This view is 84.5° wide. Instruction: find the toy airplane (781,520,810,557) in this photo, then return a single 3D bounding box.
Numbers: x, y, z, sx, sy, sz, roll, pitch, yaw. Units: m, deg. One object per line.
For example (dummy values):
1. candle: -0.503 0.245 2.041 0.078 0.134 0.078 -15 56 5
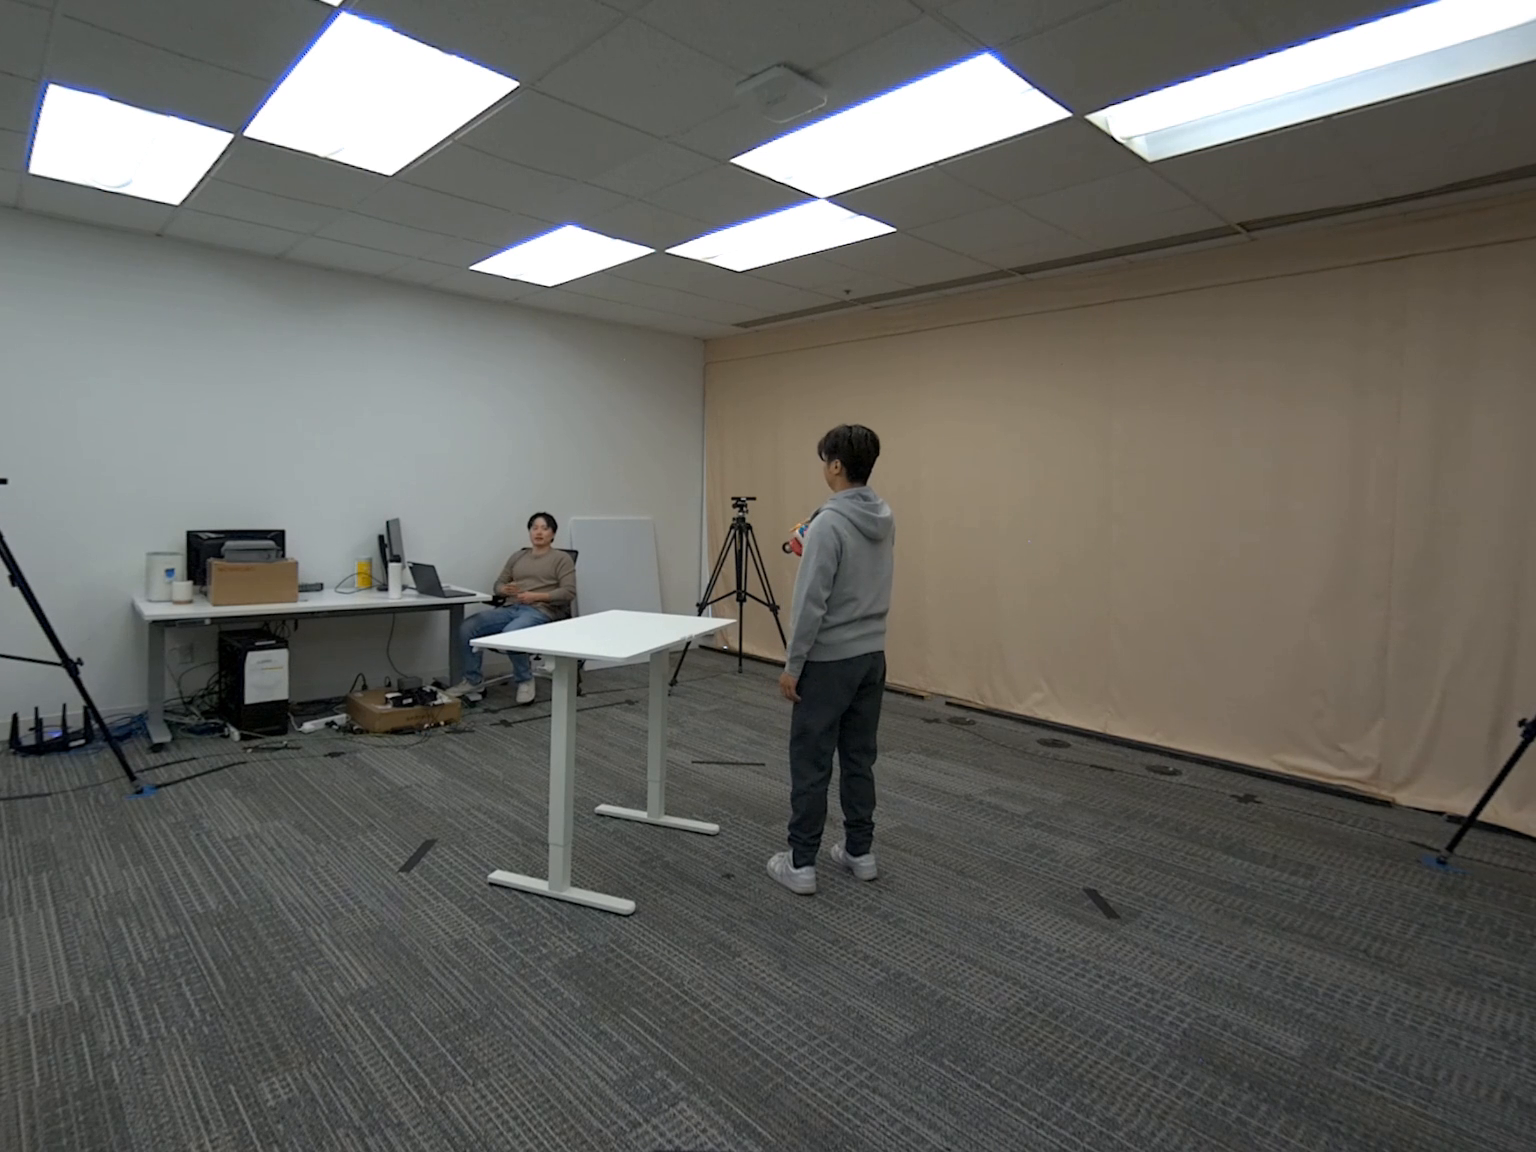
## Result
1. toy airplane: 0.192 -0.114 3.759 0.256 0.156 0.255 33 19 -14
